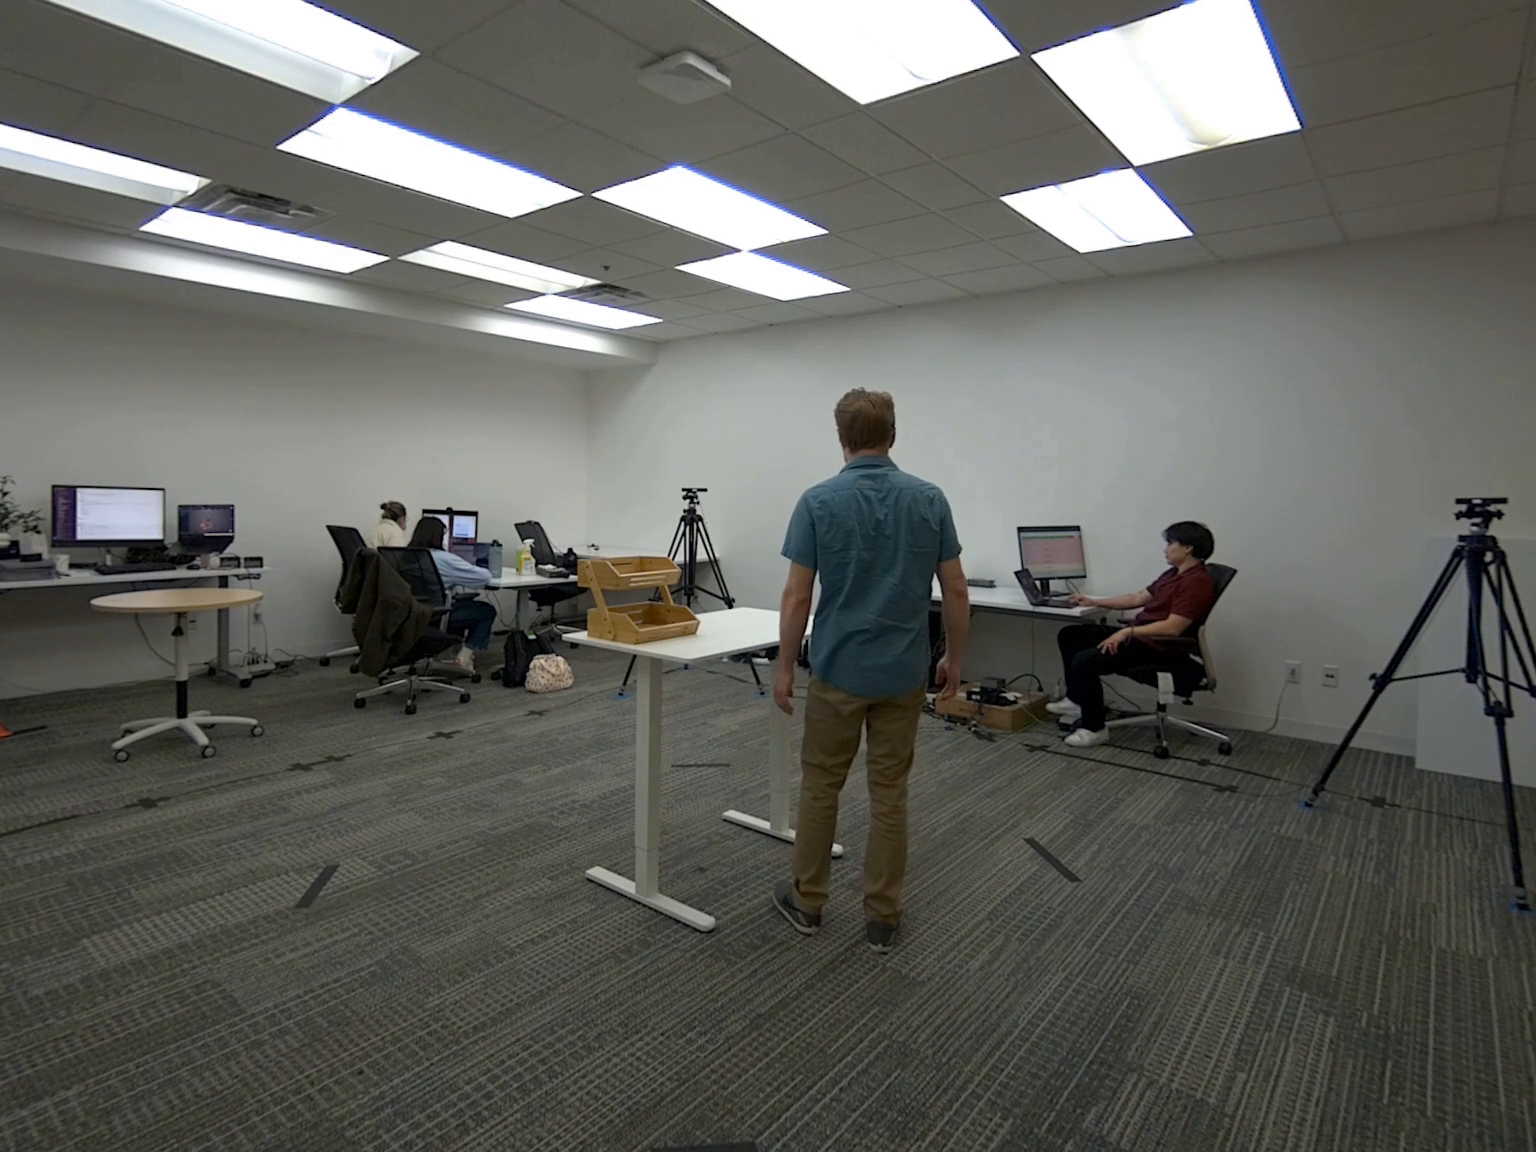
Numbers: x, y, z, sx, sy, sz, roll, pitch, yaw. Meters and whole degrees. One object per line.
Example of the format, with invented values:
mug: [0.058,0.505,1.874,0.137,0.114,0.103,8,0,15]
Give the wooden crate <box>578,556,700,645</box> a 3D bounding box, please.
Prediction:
wooden crate: [-0.458,0.068,2.941,0.312,0.272,0.315,3,5,39]
